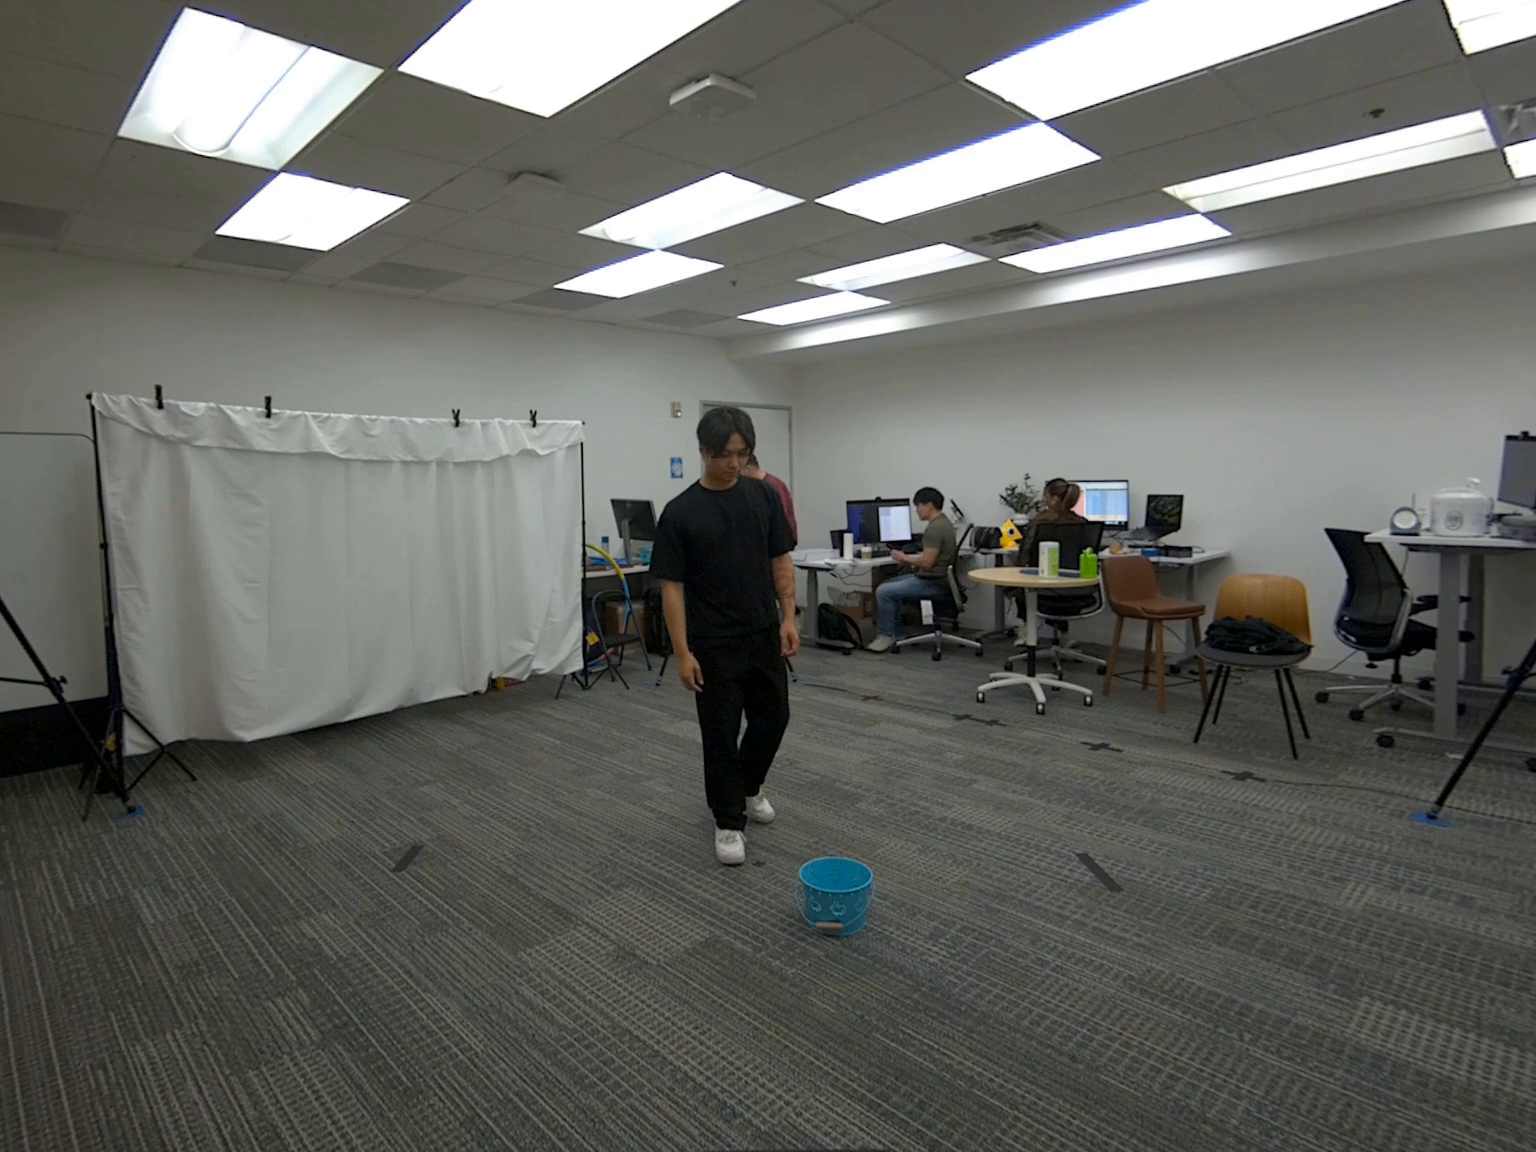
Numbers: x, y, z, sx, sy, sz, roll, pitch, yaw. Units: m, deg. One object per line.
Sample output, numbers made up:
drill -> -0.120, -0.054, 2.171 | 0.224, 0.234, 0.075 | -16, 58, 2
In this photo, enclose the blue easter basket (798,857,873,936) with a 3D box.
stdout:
blue easter basket -> 0.215, 1.013, 2.695 | 0.243, 0.155, 0.245 | -1, 5, -2
